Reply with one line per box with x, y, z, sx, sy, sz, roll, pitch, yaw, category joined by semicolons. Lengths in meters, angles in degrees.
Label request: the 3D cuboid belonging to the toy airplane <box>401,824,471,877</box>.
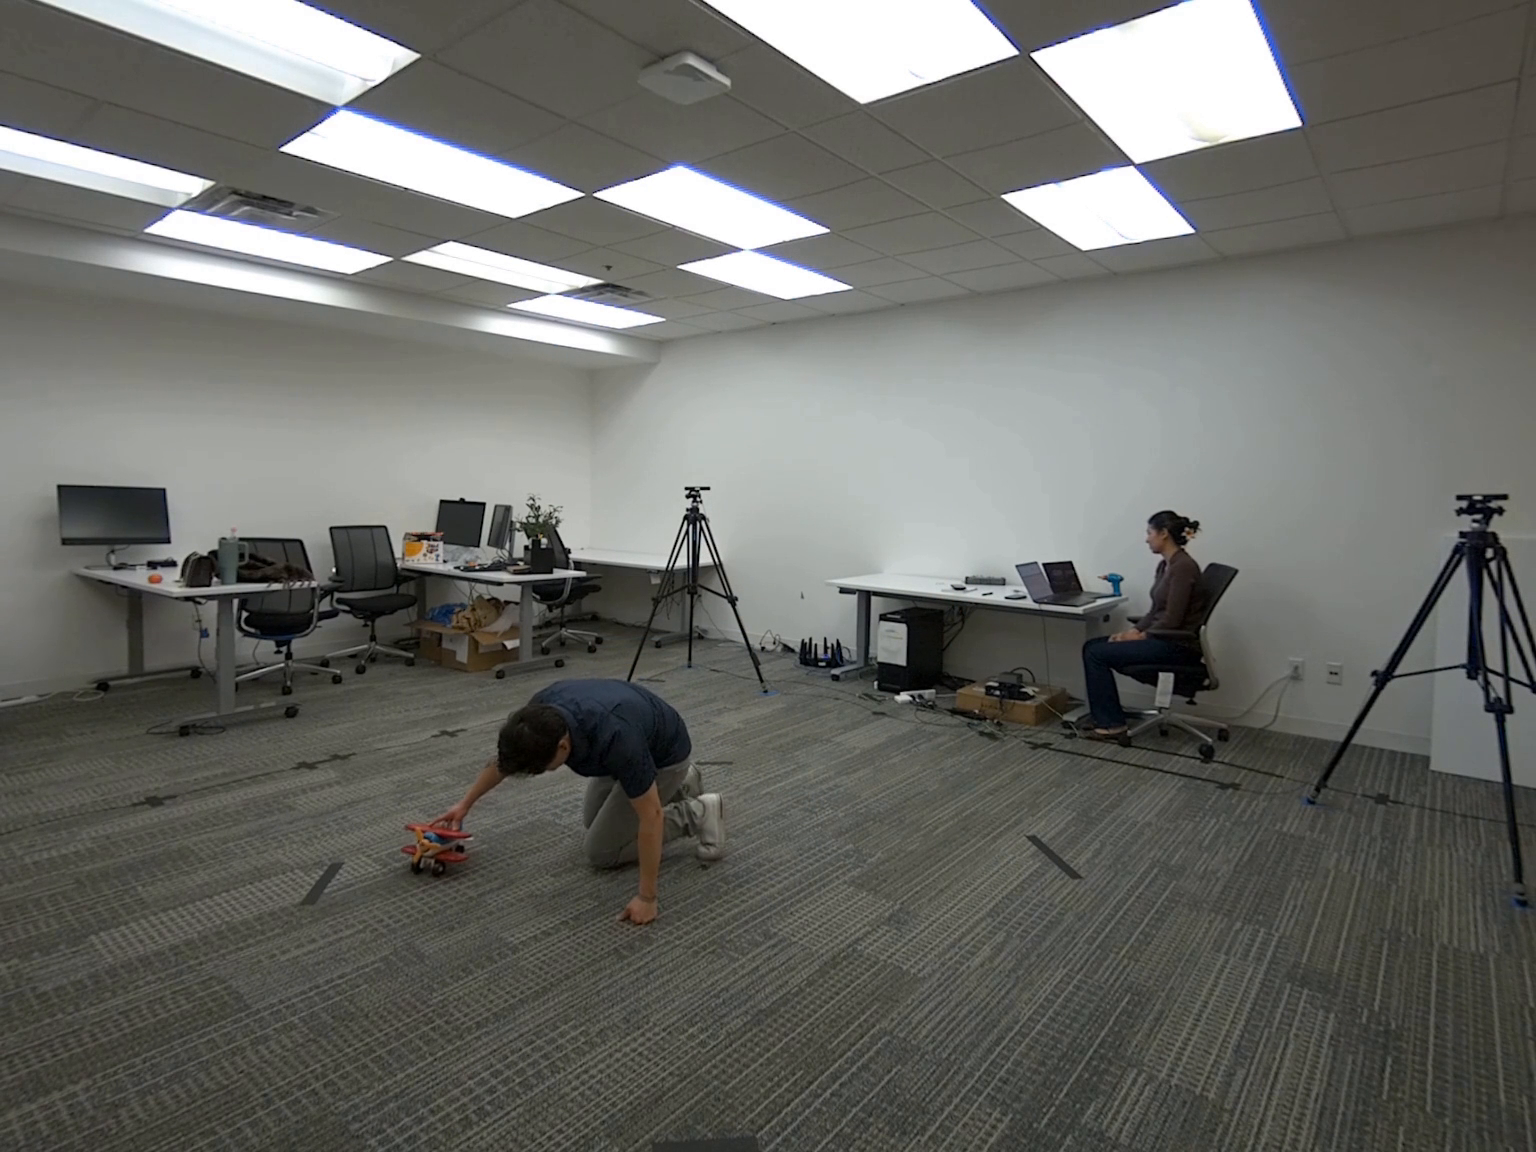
-1.229;0.984;3.119;0.247;0.156;0.264;2;6;-14;toy airplane
